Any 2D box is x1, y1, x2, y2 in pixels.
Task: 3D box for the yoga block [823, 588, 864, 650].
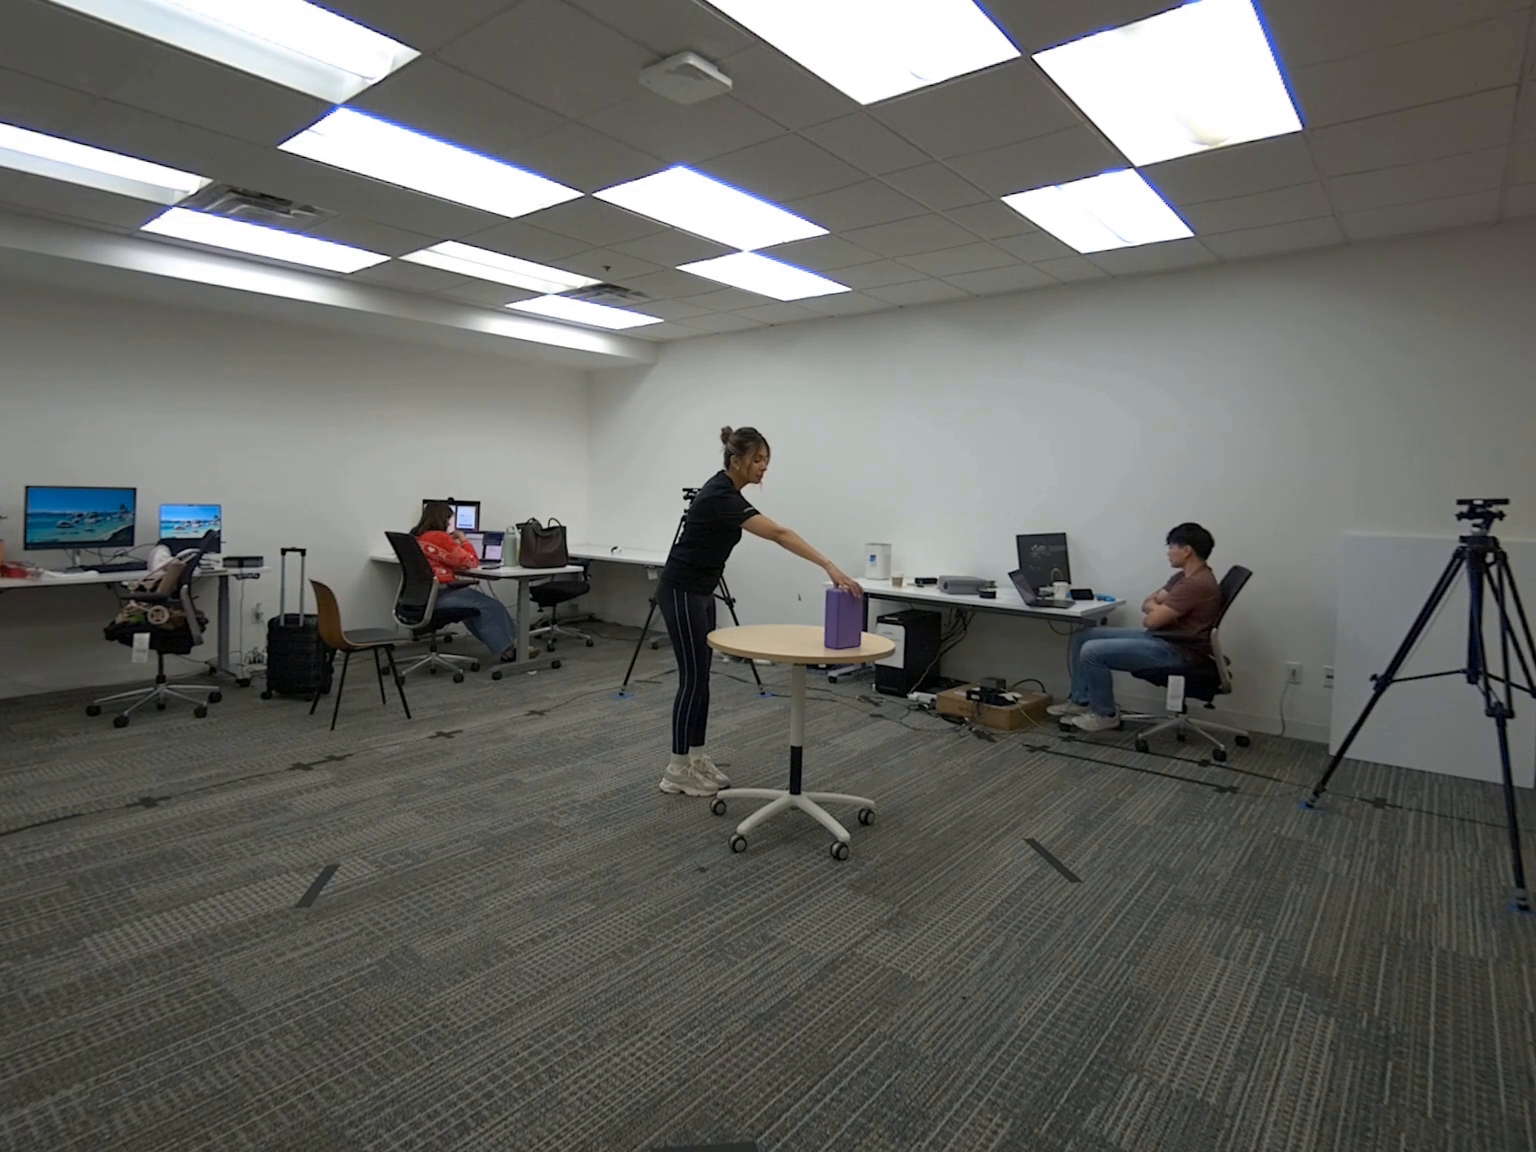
[{"bbox_3d":[0.291,0.162,3.336,0.144,0.229,0.079,0,2,-41],"label":"yoga block"}]
